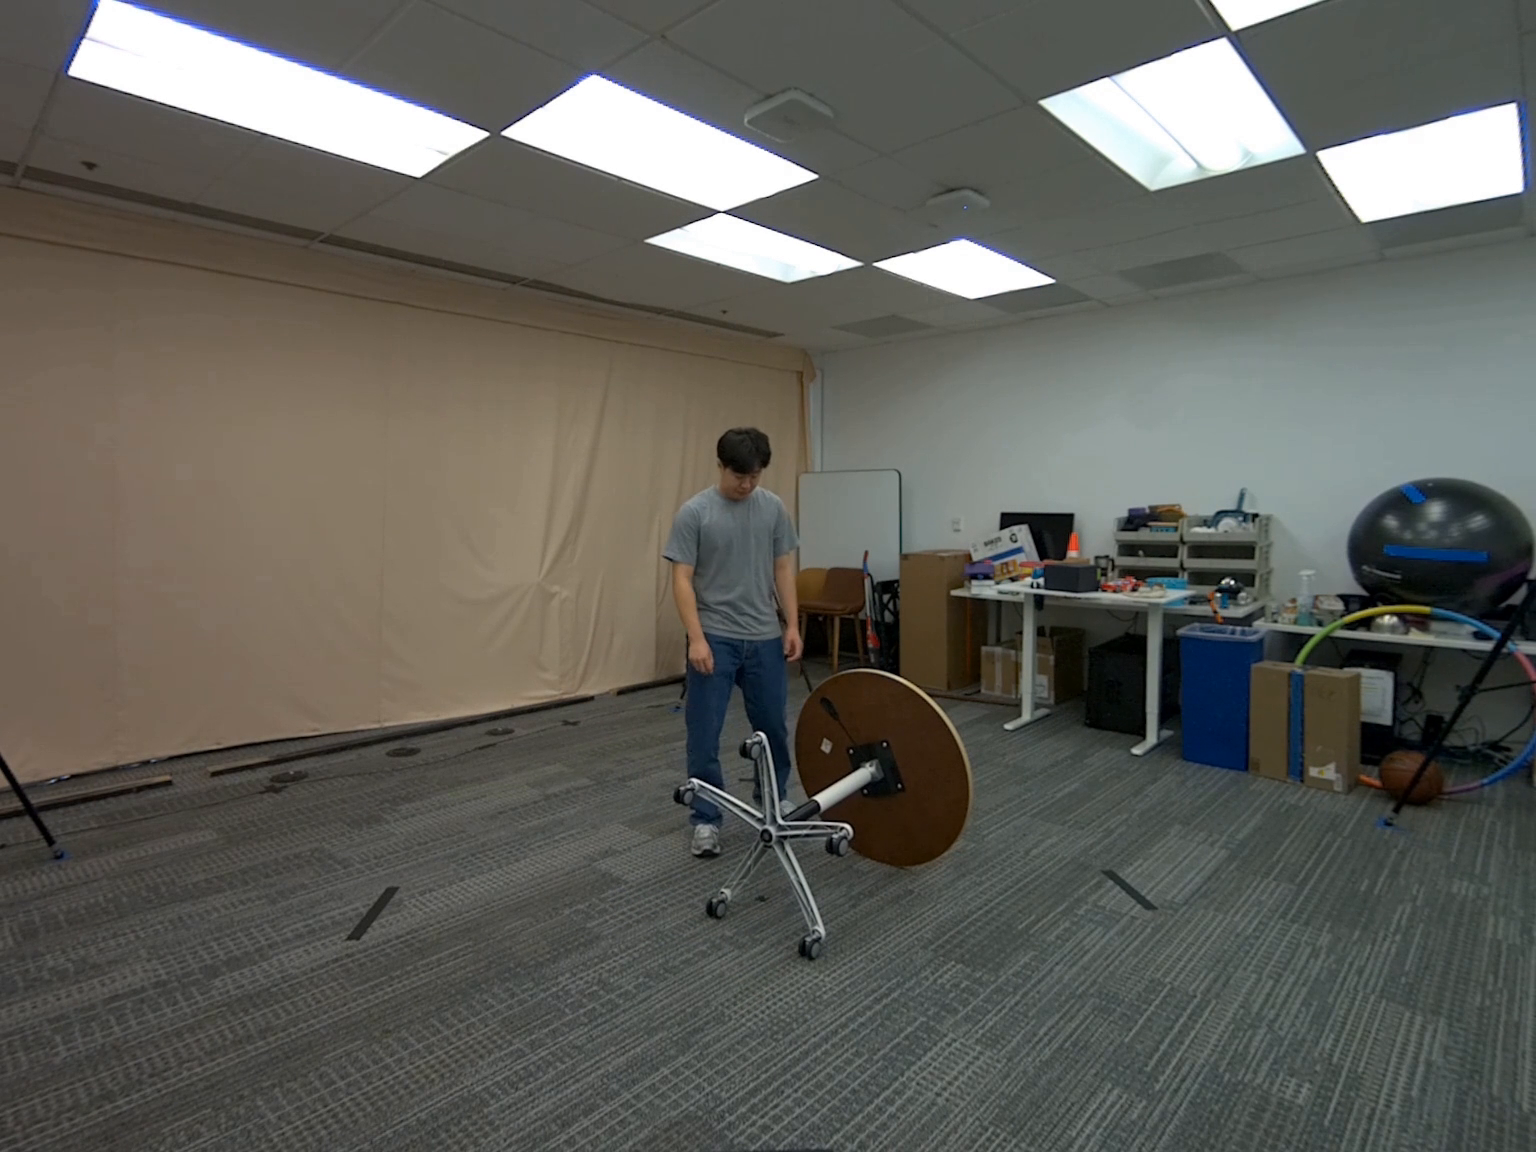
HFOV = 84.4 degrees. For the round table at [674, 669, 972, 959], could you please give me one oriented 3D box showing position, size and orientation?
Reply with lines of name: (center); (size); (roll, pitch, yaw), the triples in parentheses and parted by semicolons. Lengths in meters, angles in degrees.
round table: (0.197, 0.801, 2.961); (0.789, 0.759, 0.773); (3, 11, 40)
